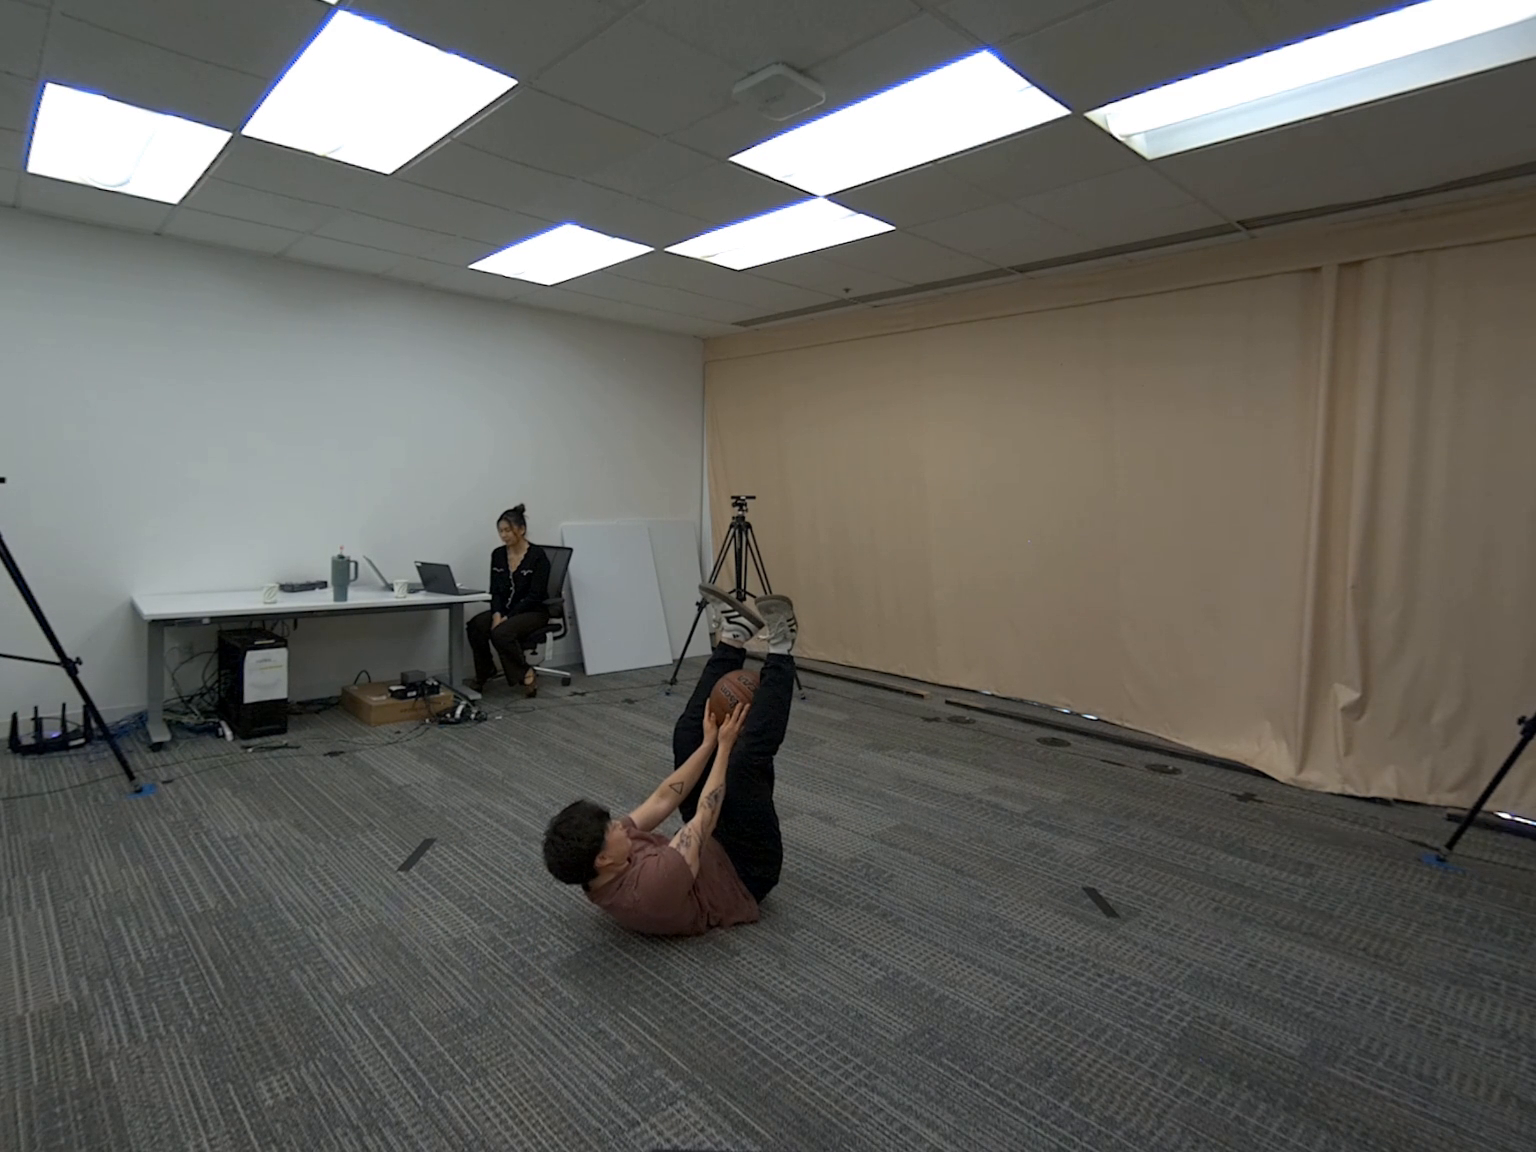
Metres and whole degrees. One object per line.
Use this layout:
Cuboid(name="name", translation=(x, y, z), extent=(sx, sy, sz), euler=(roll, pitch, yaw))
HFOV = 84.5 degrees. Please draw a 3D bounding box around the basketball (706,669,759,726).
Cuboid(name="basketball", translation=(-0.092, 0.452, 2.941), extent=(0.236, 0.235, 0.237), euler=(2, 4, -2))
